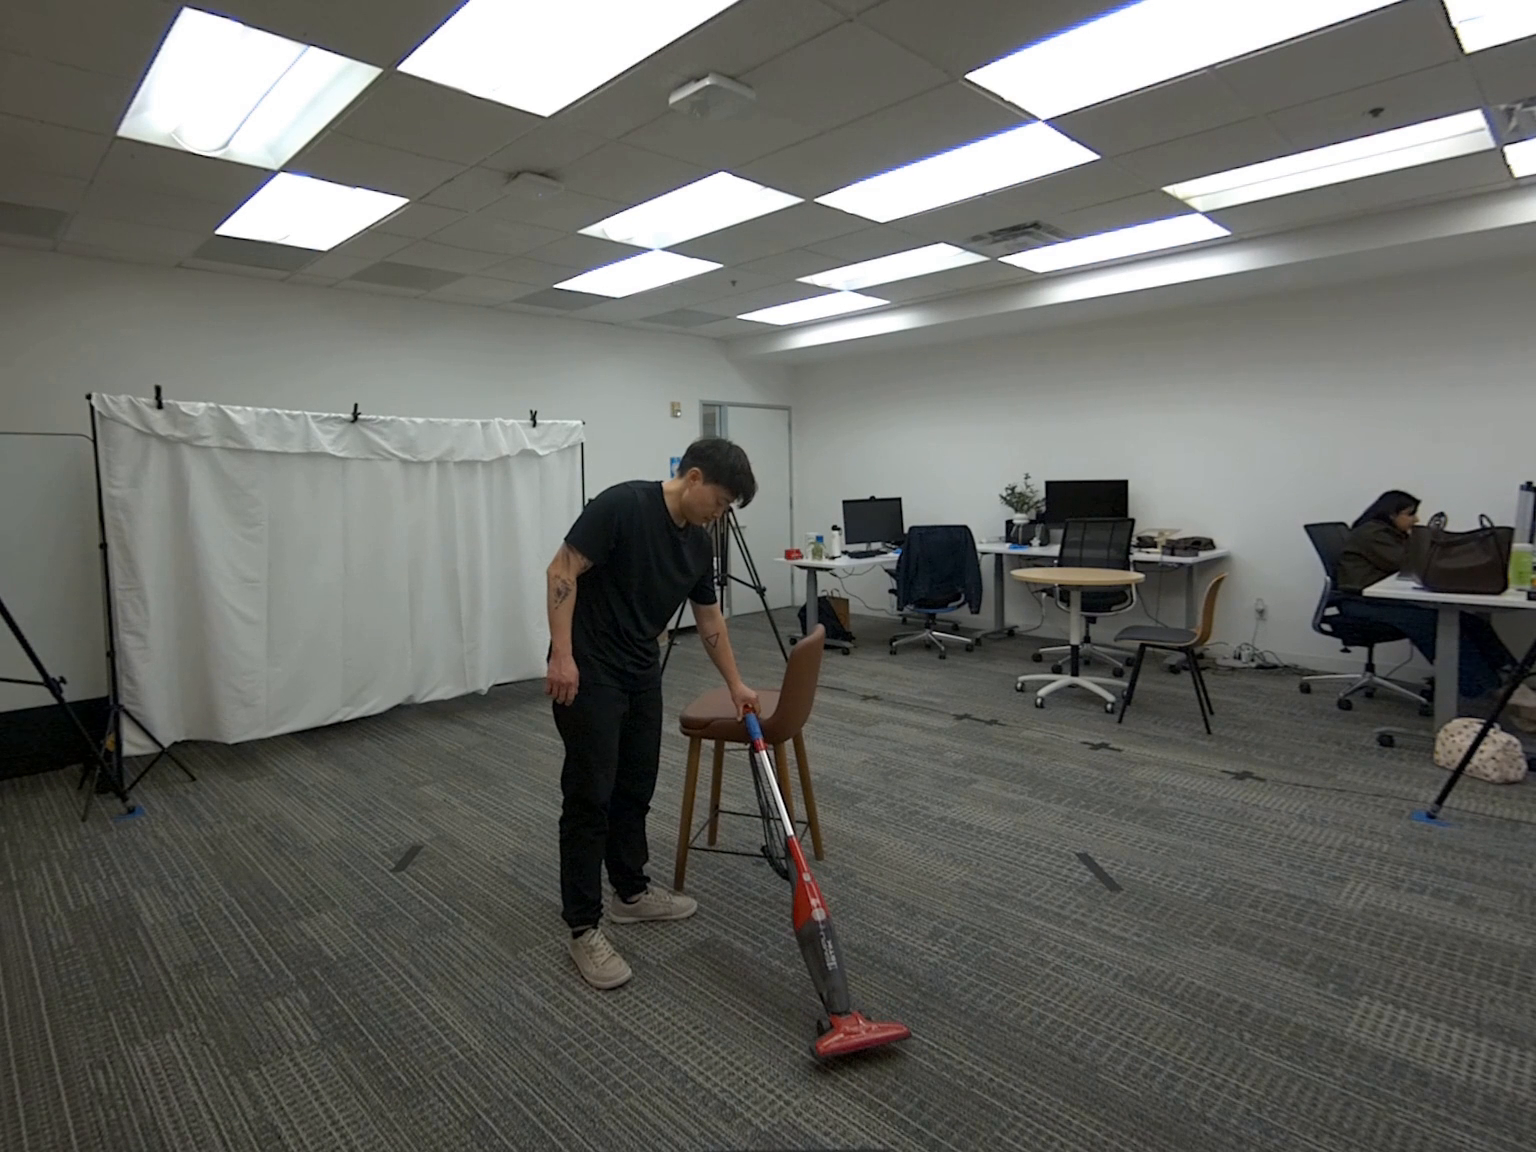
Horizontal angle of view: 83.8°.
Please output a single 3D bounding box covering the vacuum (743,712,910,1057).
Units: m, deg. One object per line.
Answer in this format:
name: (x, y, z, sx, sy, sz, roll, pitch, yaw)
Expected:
vacuum: (0.066, 0.780, 2.464, 0.249, 0.141, 1.088, -5, 43, -18)
